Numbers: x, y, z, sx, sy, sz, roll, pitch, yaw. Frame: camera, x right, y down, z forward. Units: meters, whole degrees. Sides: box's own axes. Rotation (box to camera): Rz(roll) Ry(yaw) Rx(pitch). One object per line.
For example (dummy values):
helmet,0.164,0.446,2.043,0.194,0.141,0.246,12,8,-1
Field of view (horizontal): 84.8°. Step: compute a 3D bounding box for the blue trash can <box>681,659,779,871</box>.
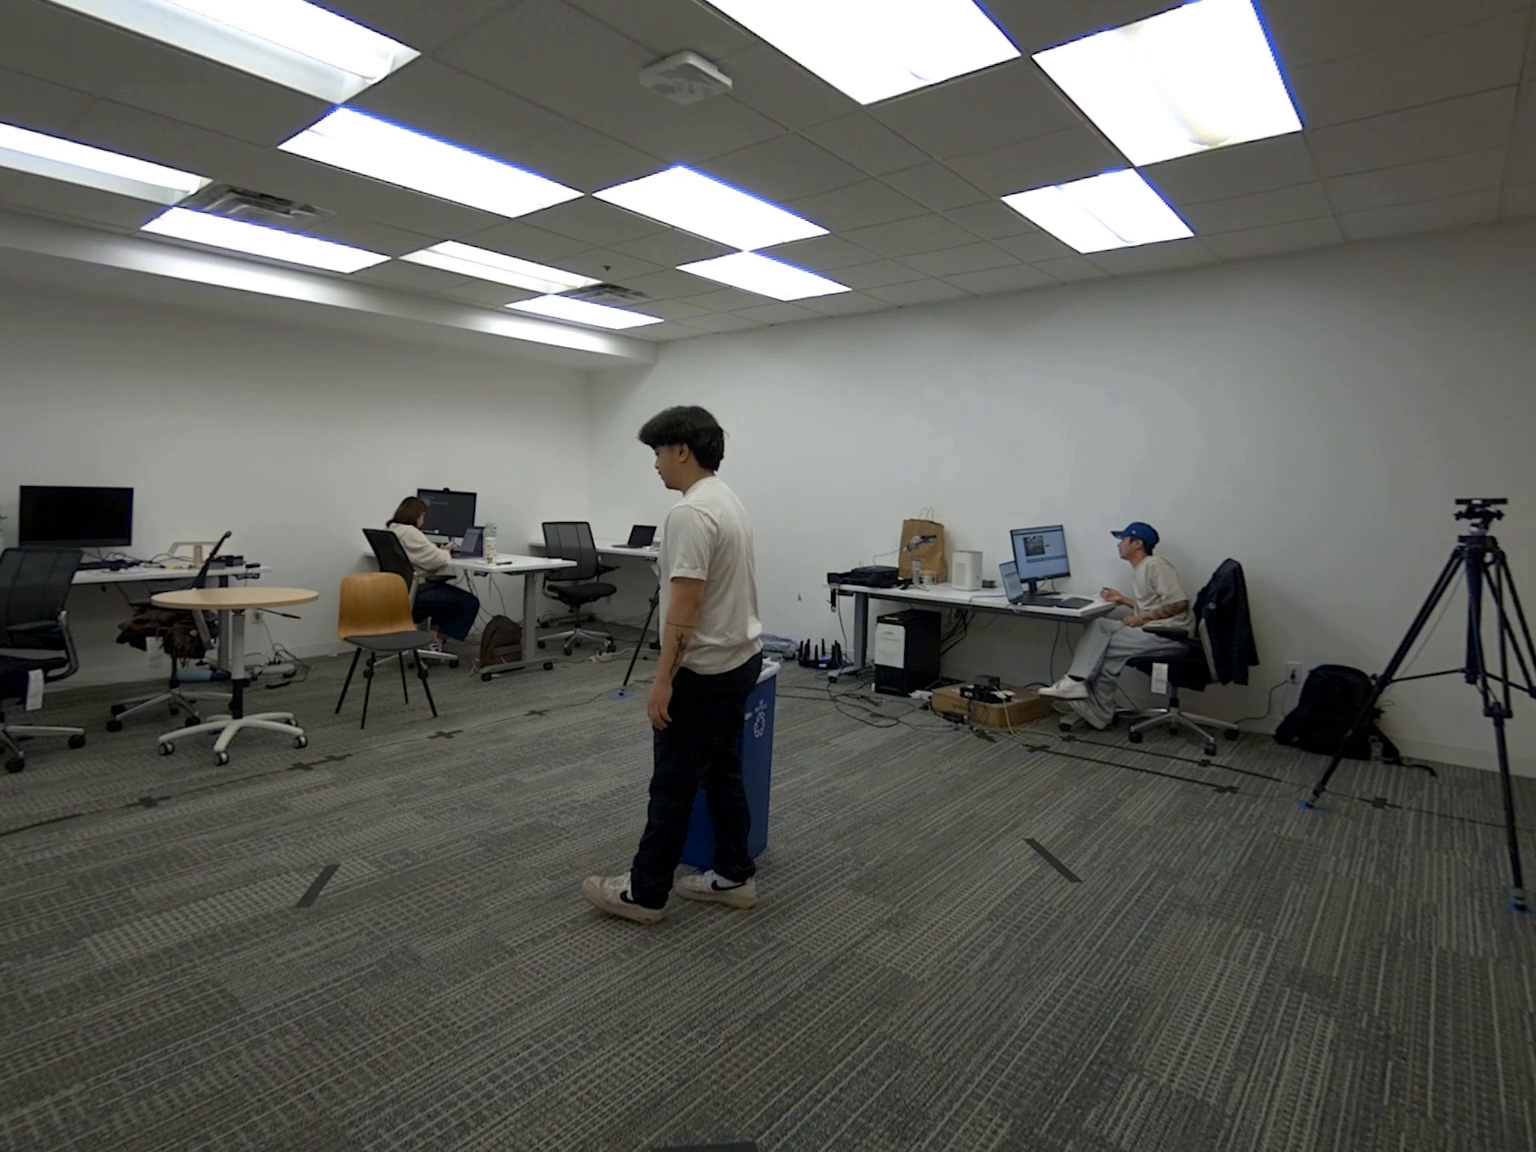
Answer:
blue trash can,-0.195,0.697,3.251,0.387,0.711,0.366,3,4,23
